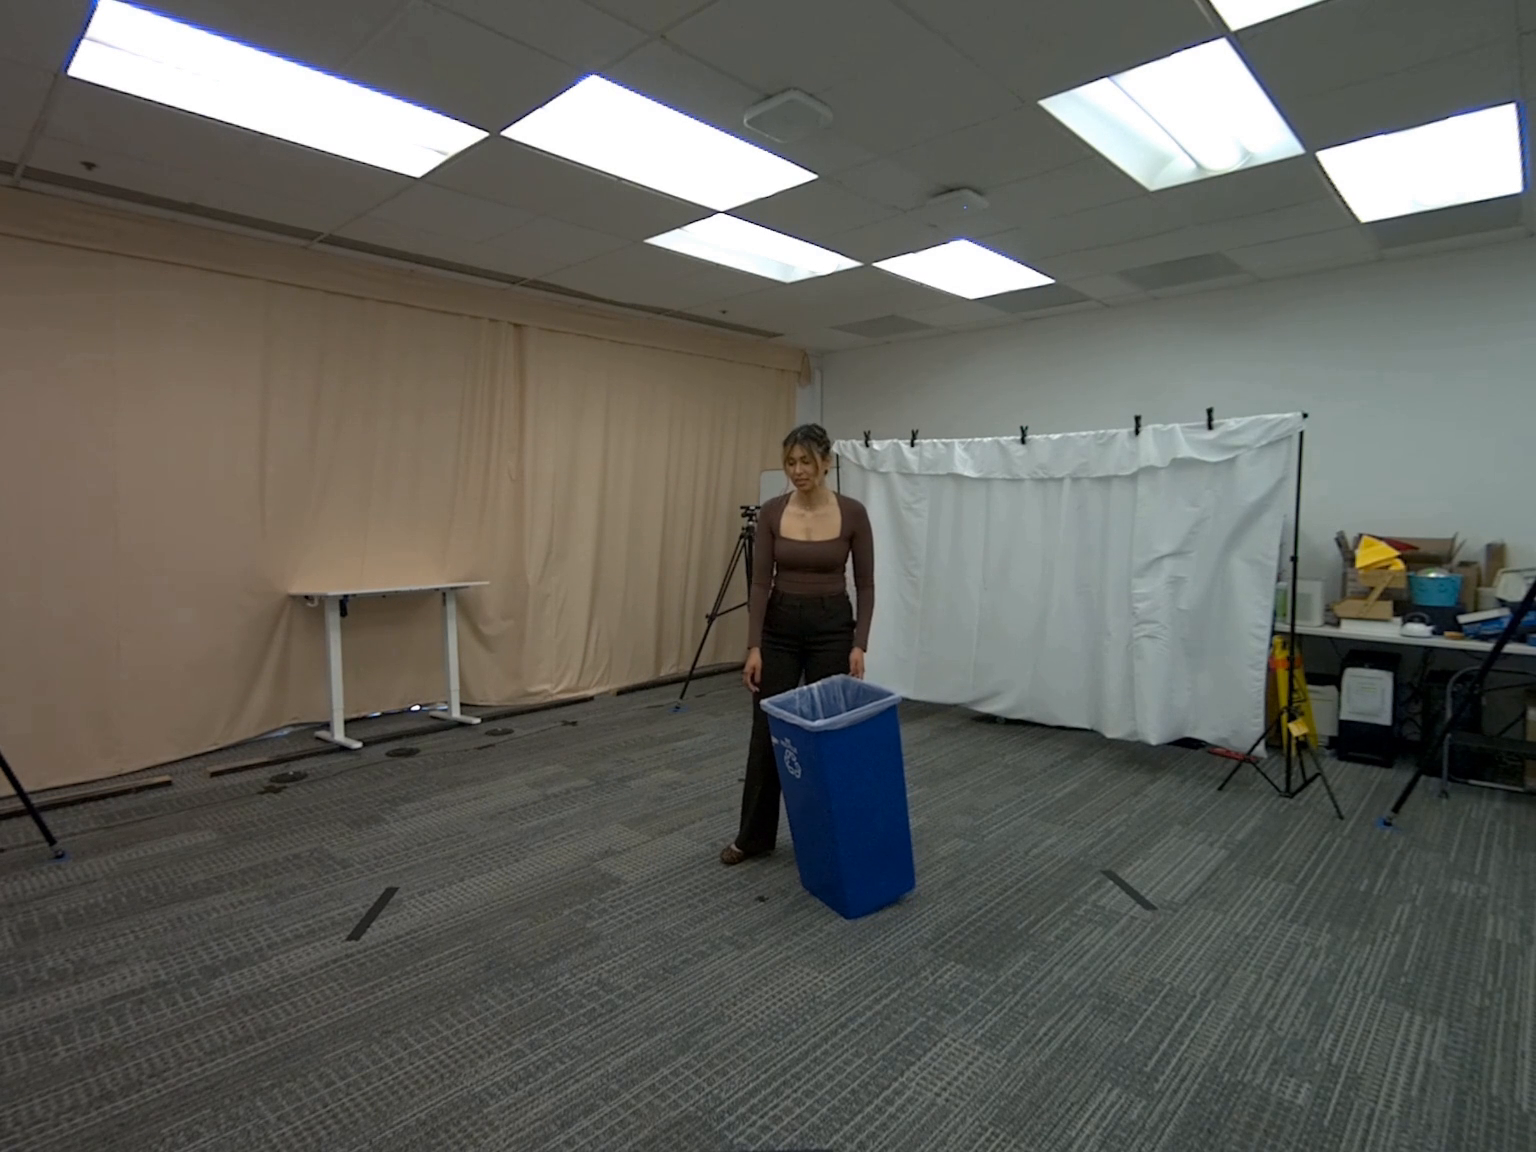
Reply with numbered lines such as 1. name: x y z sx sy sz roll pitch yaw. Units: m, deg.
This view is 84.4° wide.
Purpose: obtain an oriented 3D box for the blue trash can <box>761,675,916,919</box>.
1. blue trash can: 0.274 0.765 2.967 0.370 0.709 0.385 -14 10 -27
